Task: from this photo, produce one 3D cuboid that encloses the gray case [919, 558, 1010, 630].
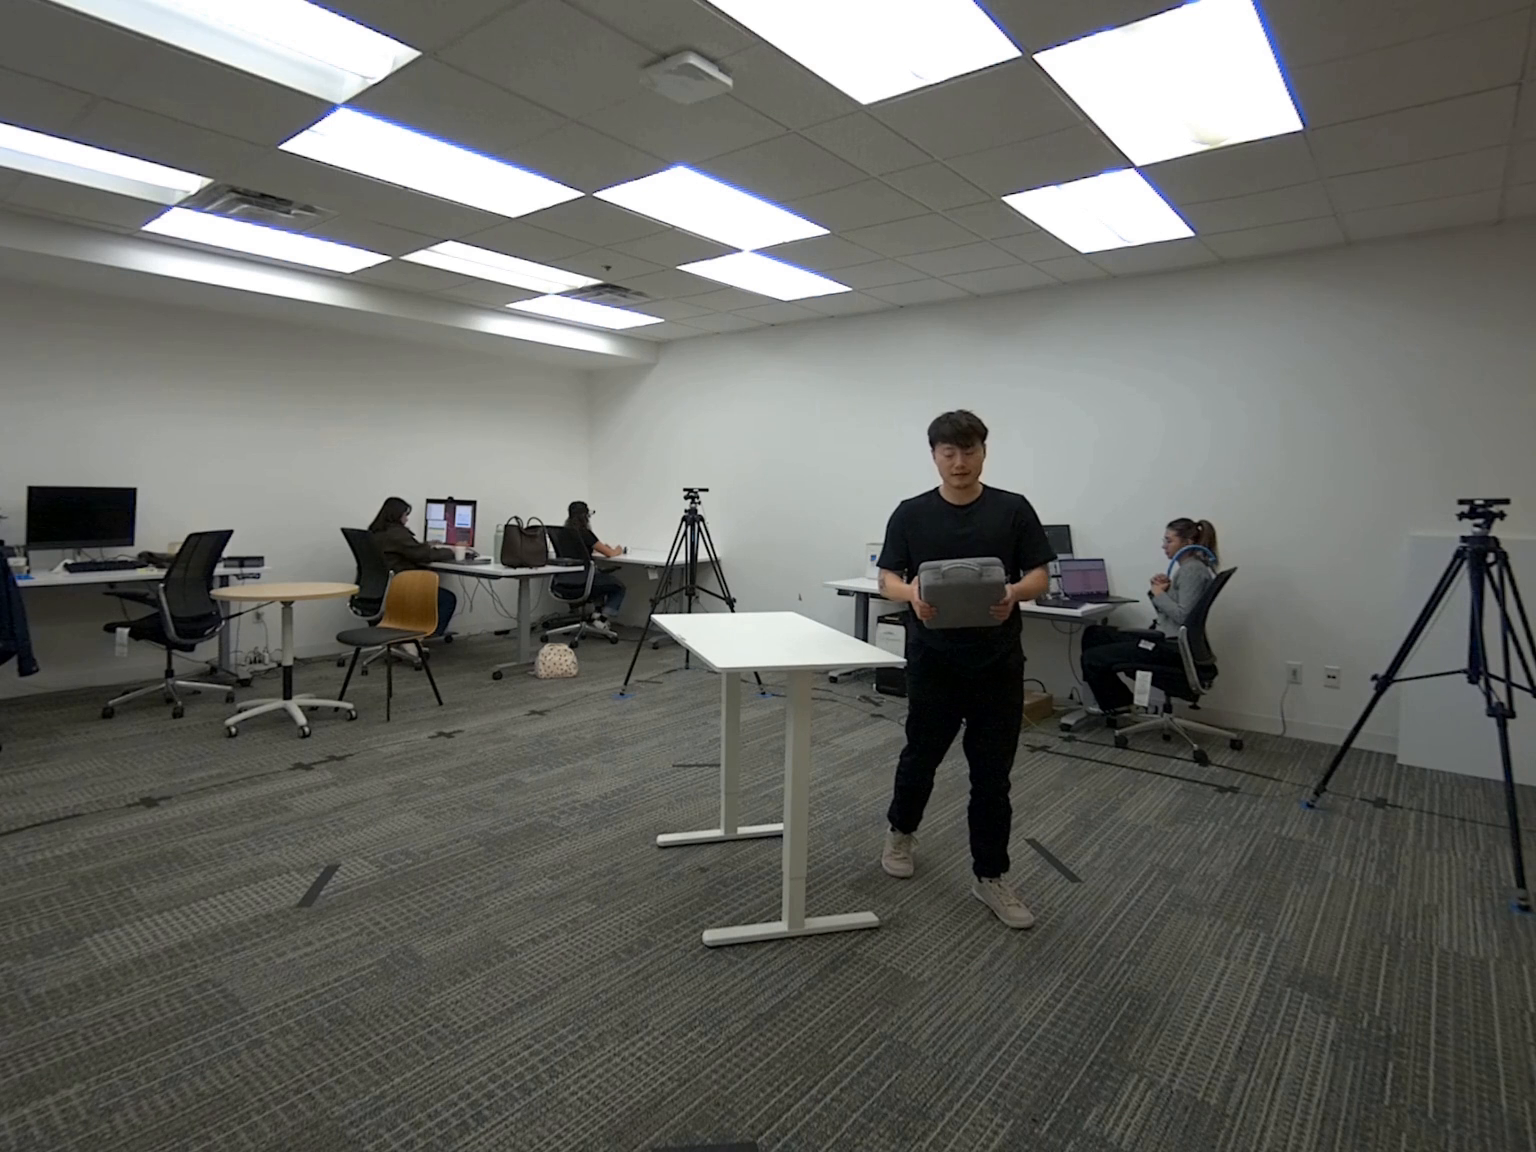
[{"bbox_3d":[0.621,0.052,2.657,0.260,0.107,0.251,-4,-38,14],"label":"gray case"}]
